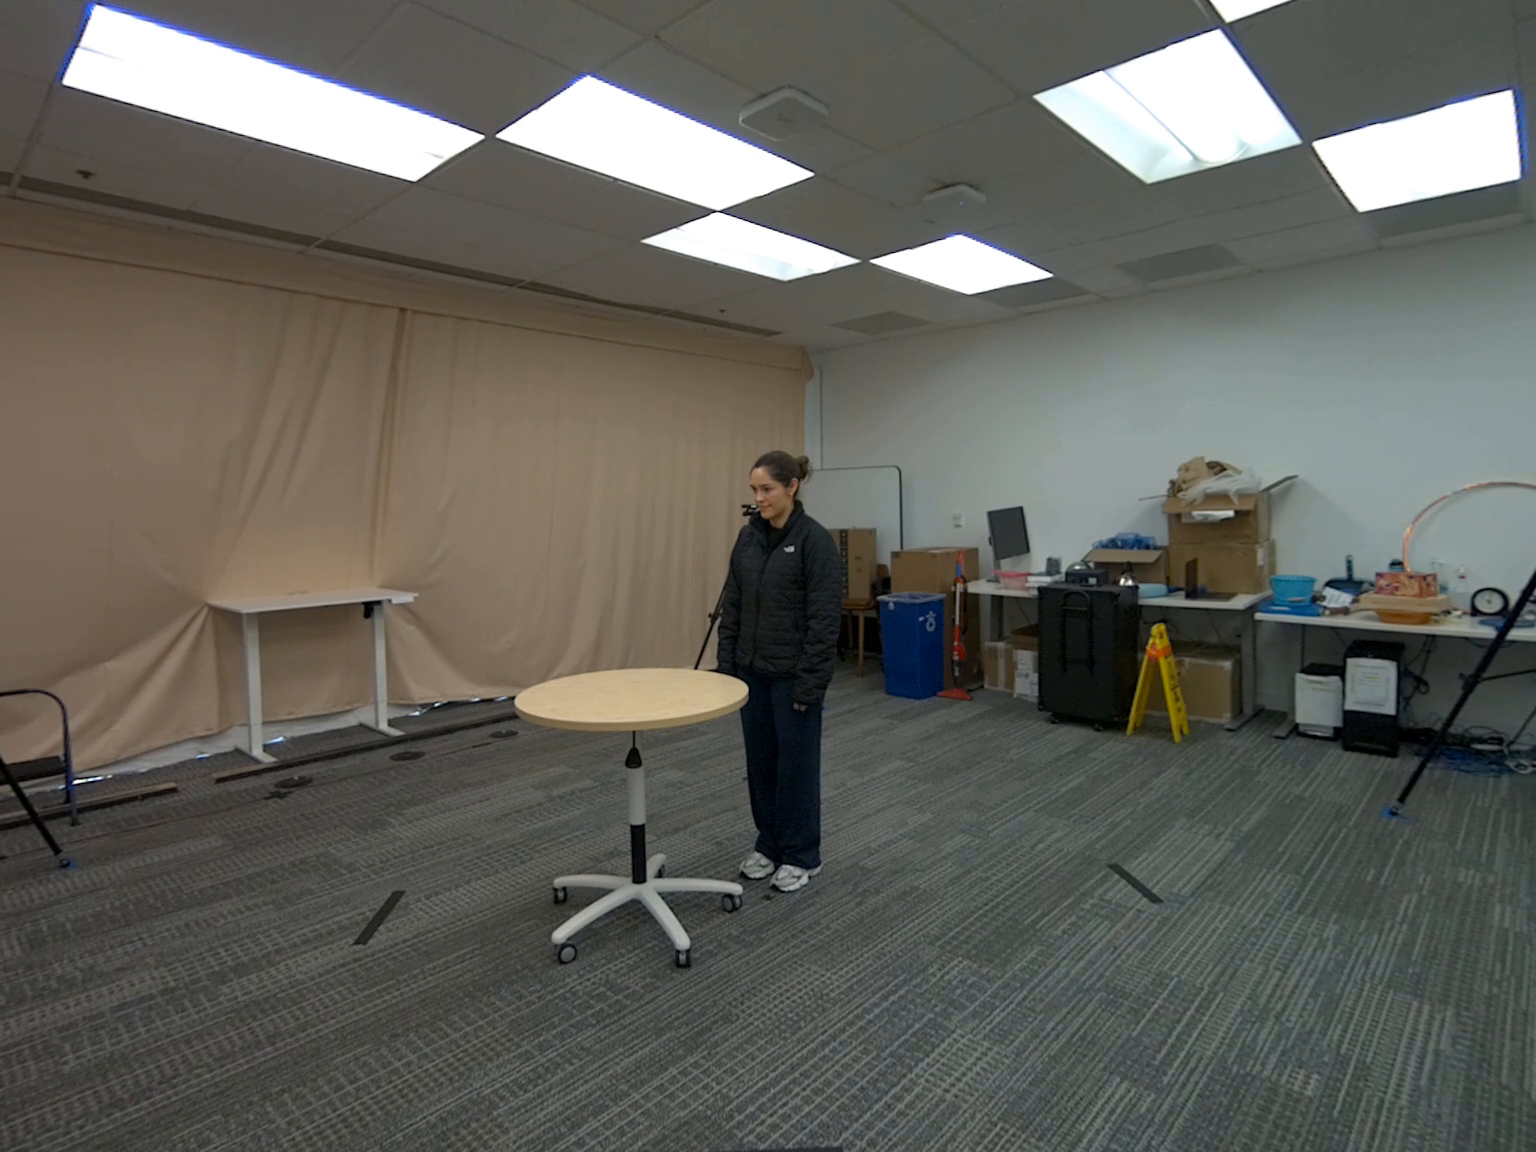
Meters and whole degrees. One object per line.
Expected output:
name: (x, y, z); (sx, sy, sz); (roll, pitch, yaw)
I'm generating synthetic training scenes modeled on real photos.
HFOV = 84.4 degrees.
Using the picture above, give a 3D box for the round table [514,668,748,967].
round table: (-0.412, 0.772, 2.804); (0.784, 0.784, 0.788); (-2, 4, -2)
